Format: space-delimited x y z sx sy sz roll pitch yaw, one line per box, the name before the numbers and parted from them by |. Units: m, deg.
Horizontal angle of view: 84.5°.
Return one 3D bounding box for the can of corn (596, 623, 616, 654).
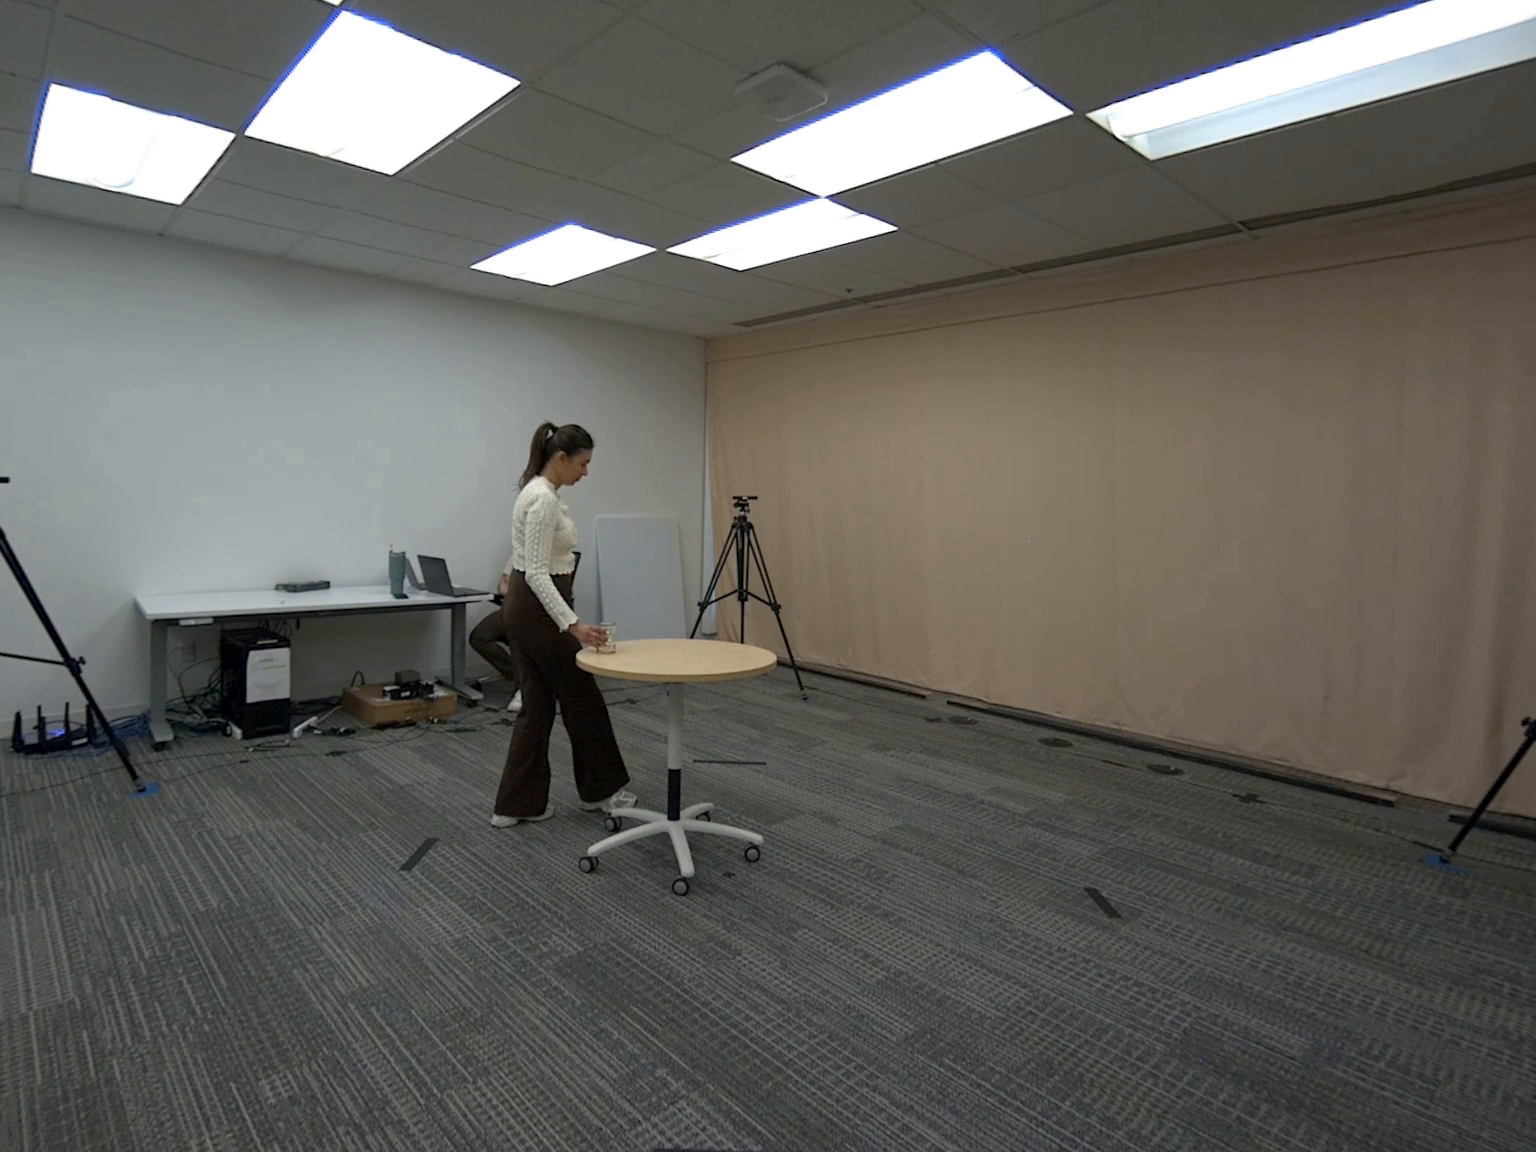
can of corn | -0.636 0.241 3.234 0.074 0.111 0.074 3 4 -2
